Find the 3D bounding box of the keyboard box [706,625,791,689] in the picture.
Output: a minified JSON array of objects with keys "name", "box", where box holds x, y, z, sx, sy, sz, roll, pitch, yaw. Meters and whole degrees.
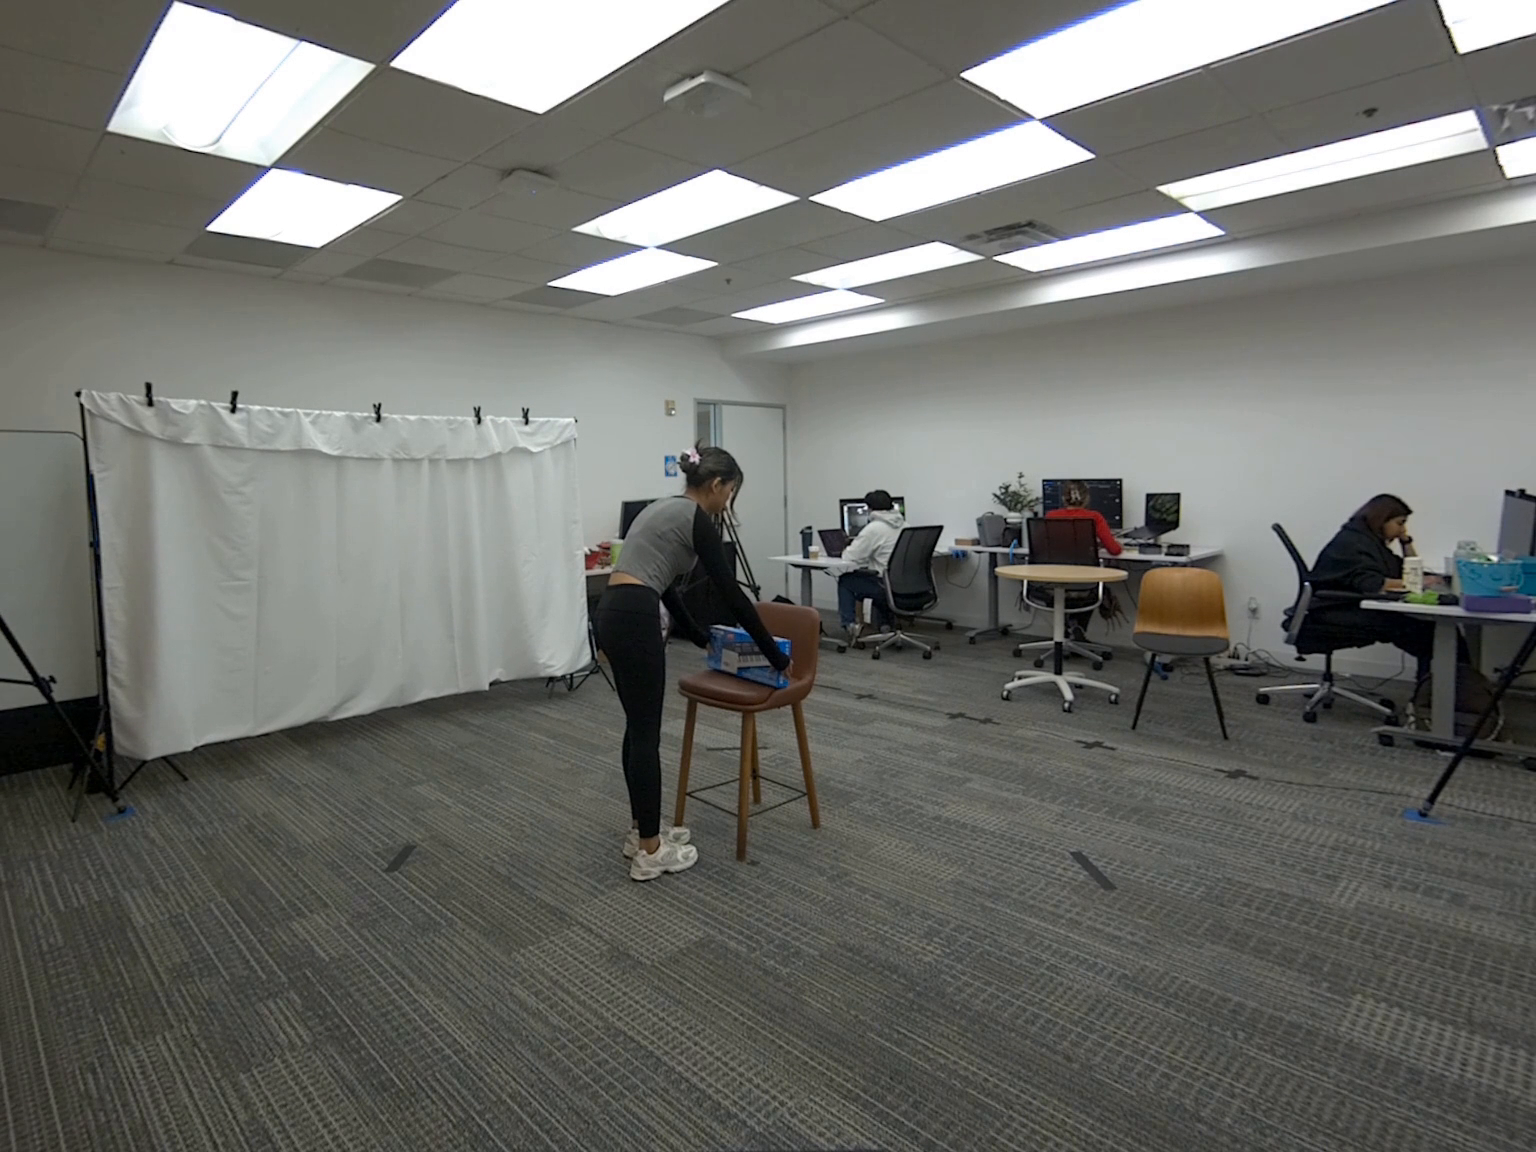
[{"name":"keyboard box","box":[-0.082,0.311,3.363,0.057,0.175,0.450,2,3,-39]}]
